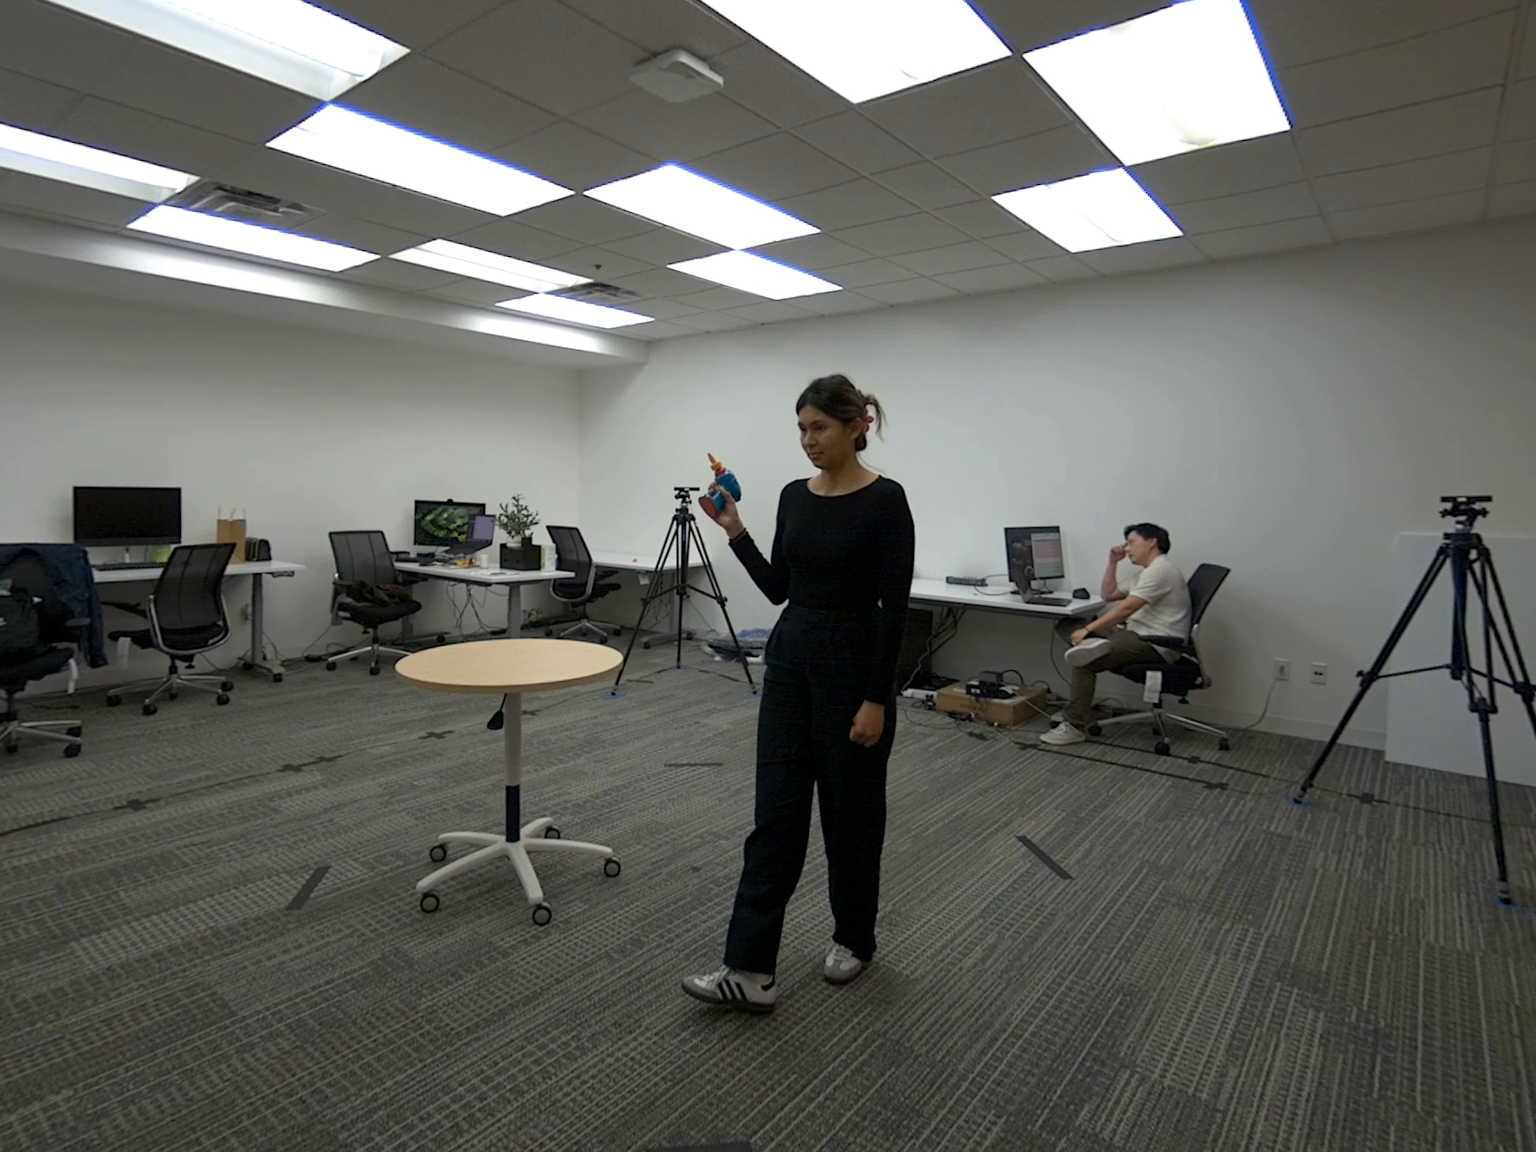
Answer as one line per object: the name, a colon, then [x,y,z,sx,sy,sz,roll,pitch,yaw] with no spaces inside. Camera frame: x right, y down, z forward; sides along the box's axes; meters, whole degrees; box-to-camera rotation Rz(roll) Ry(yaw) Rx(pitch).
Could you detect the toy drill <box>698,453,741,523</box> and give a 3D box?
toy drill: [-0.167,-0.274,2.488,0.145,0.167,0.062,-38,15,-35]
